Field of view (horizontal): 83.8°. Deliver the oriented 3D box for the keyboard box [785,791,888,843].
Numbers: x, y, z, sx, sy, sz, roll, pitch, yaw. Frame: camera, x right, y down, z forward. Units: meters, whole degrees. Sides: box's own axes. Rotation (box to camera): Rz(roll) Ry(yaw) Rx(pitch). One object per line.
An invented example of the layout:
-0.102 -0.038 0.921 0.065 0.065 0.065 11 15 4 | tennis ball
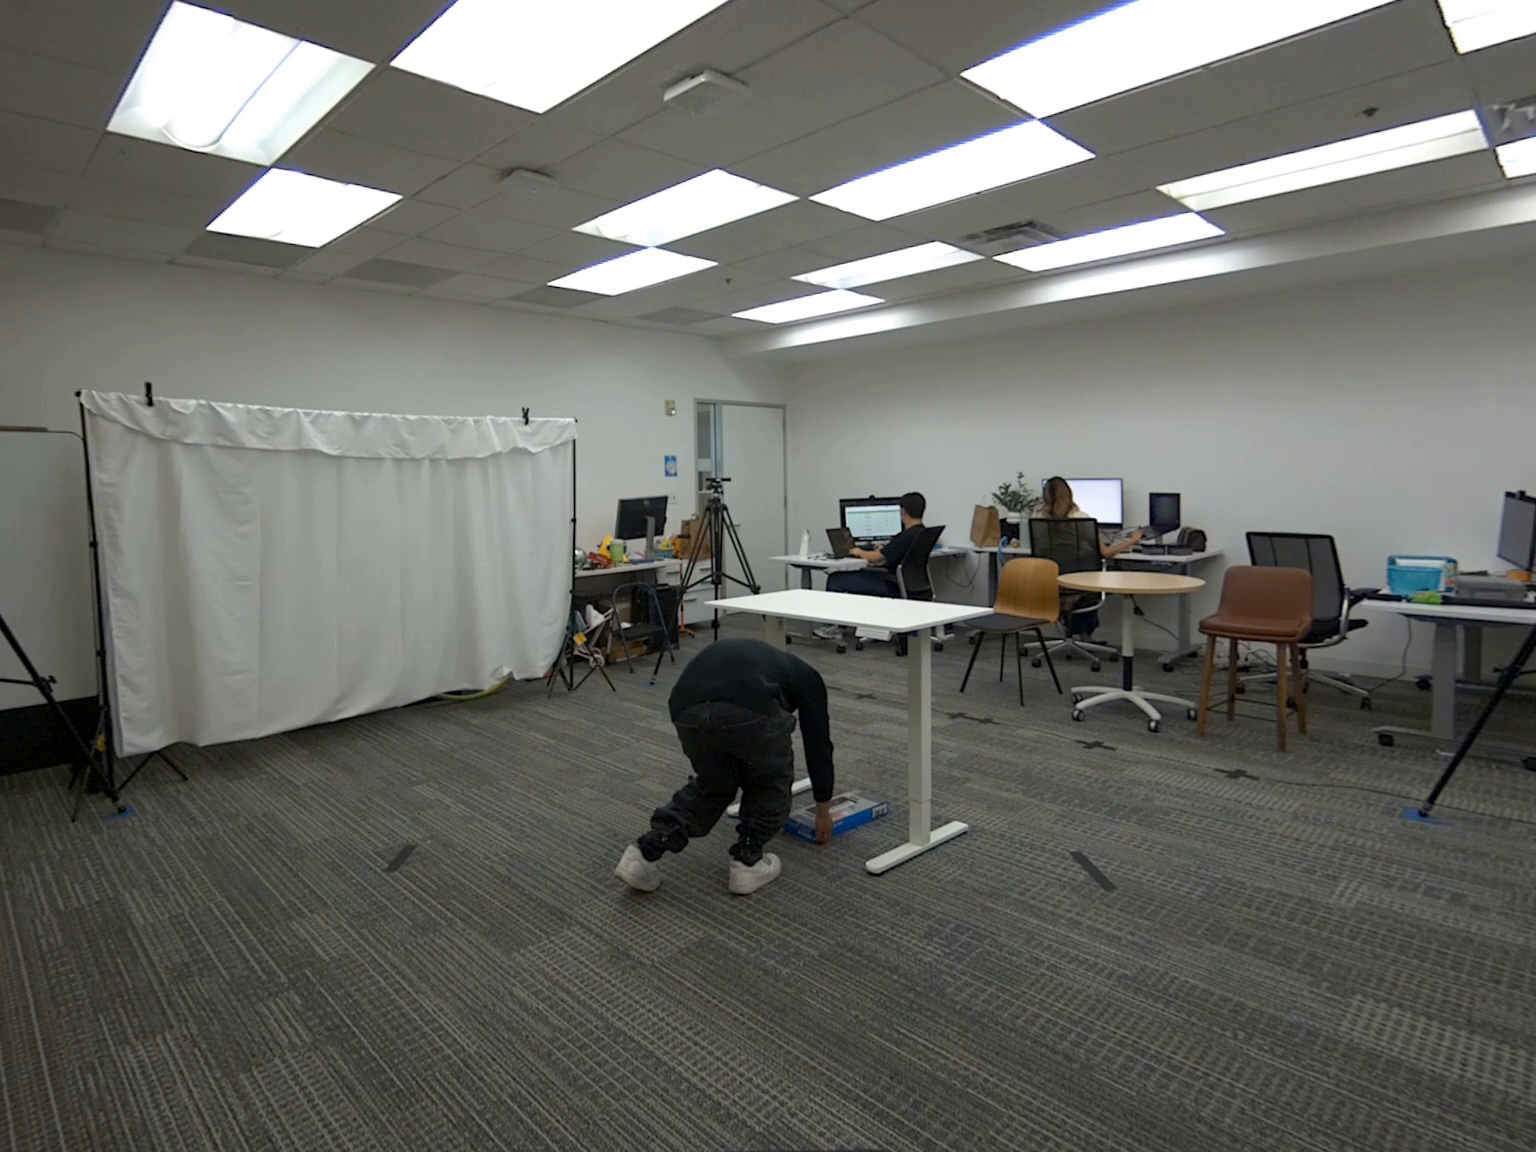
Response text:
0.283 0.968 3.459 0.425 0.059 0.181 -7 9 -41 | keyboard box
